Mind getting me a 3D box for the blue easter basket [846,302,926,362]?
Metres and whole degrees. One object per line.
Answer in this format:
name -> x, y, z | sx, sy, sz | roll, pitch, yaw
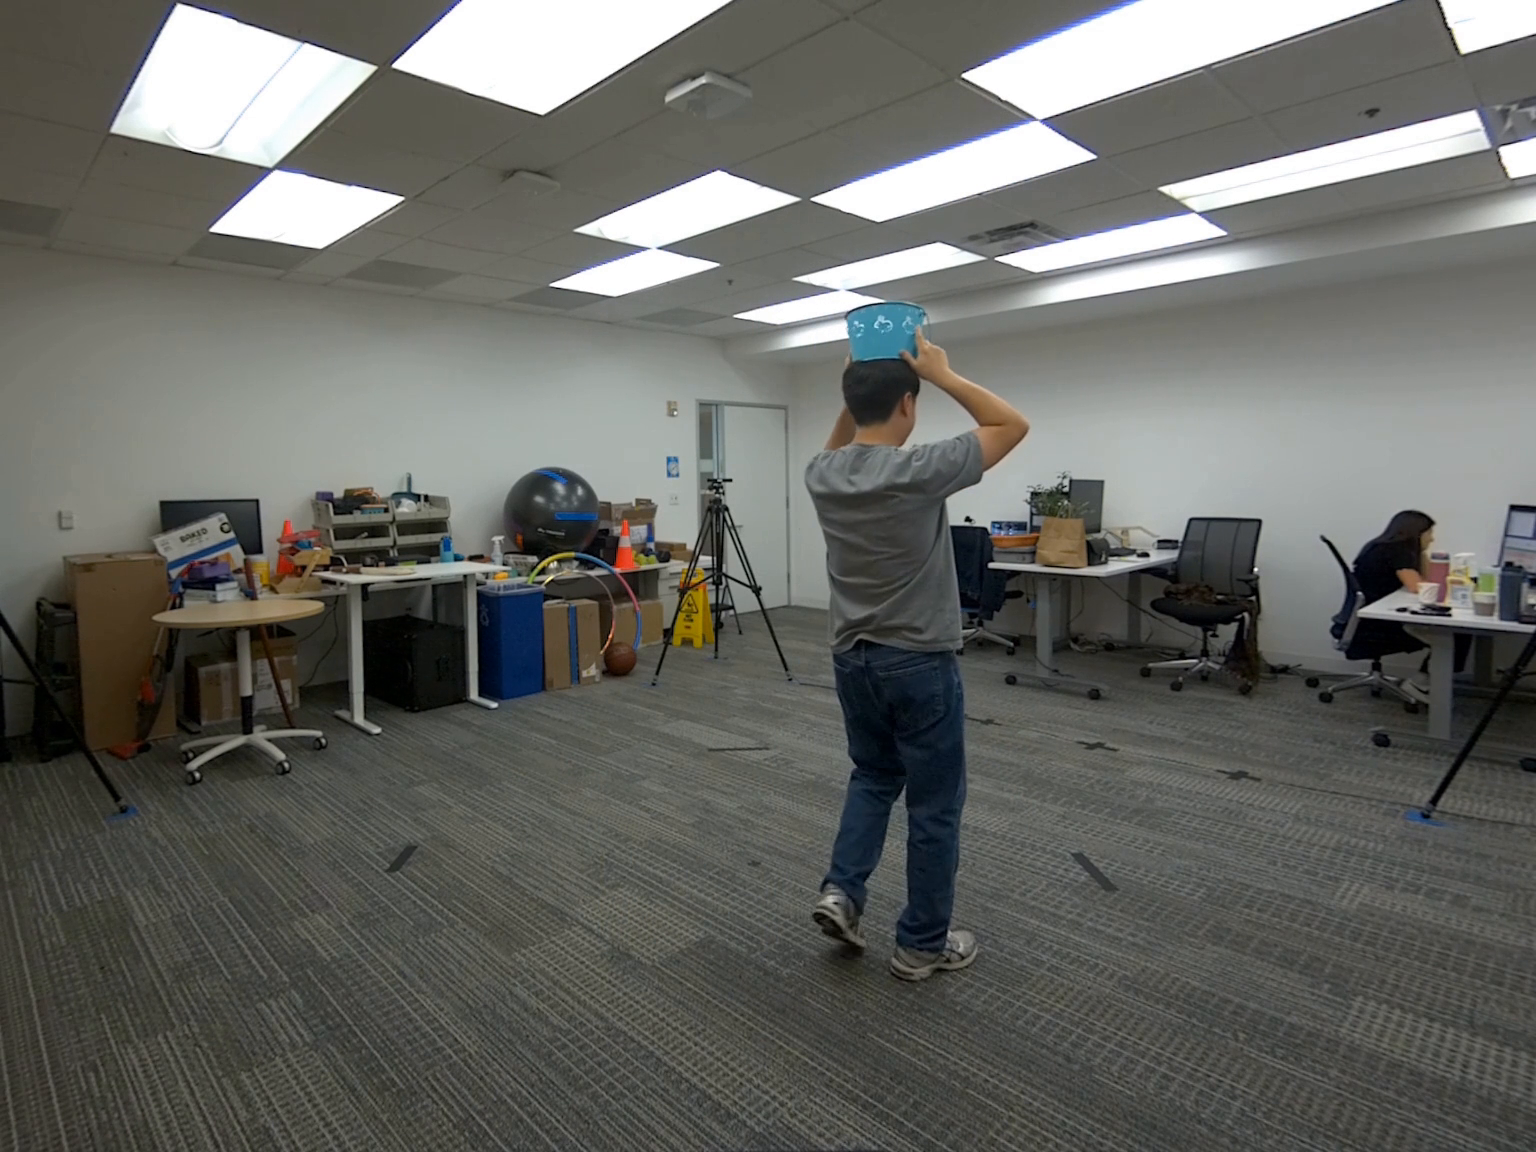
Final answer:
blue easter basket -> 0.348, -0.676, 2.444 | 0.243, 0.156, 0.243 | 1, -3, -2
